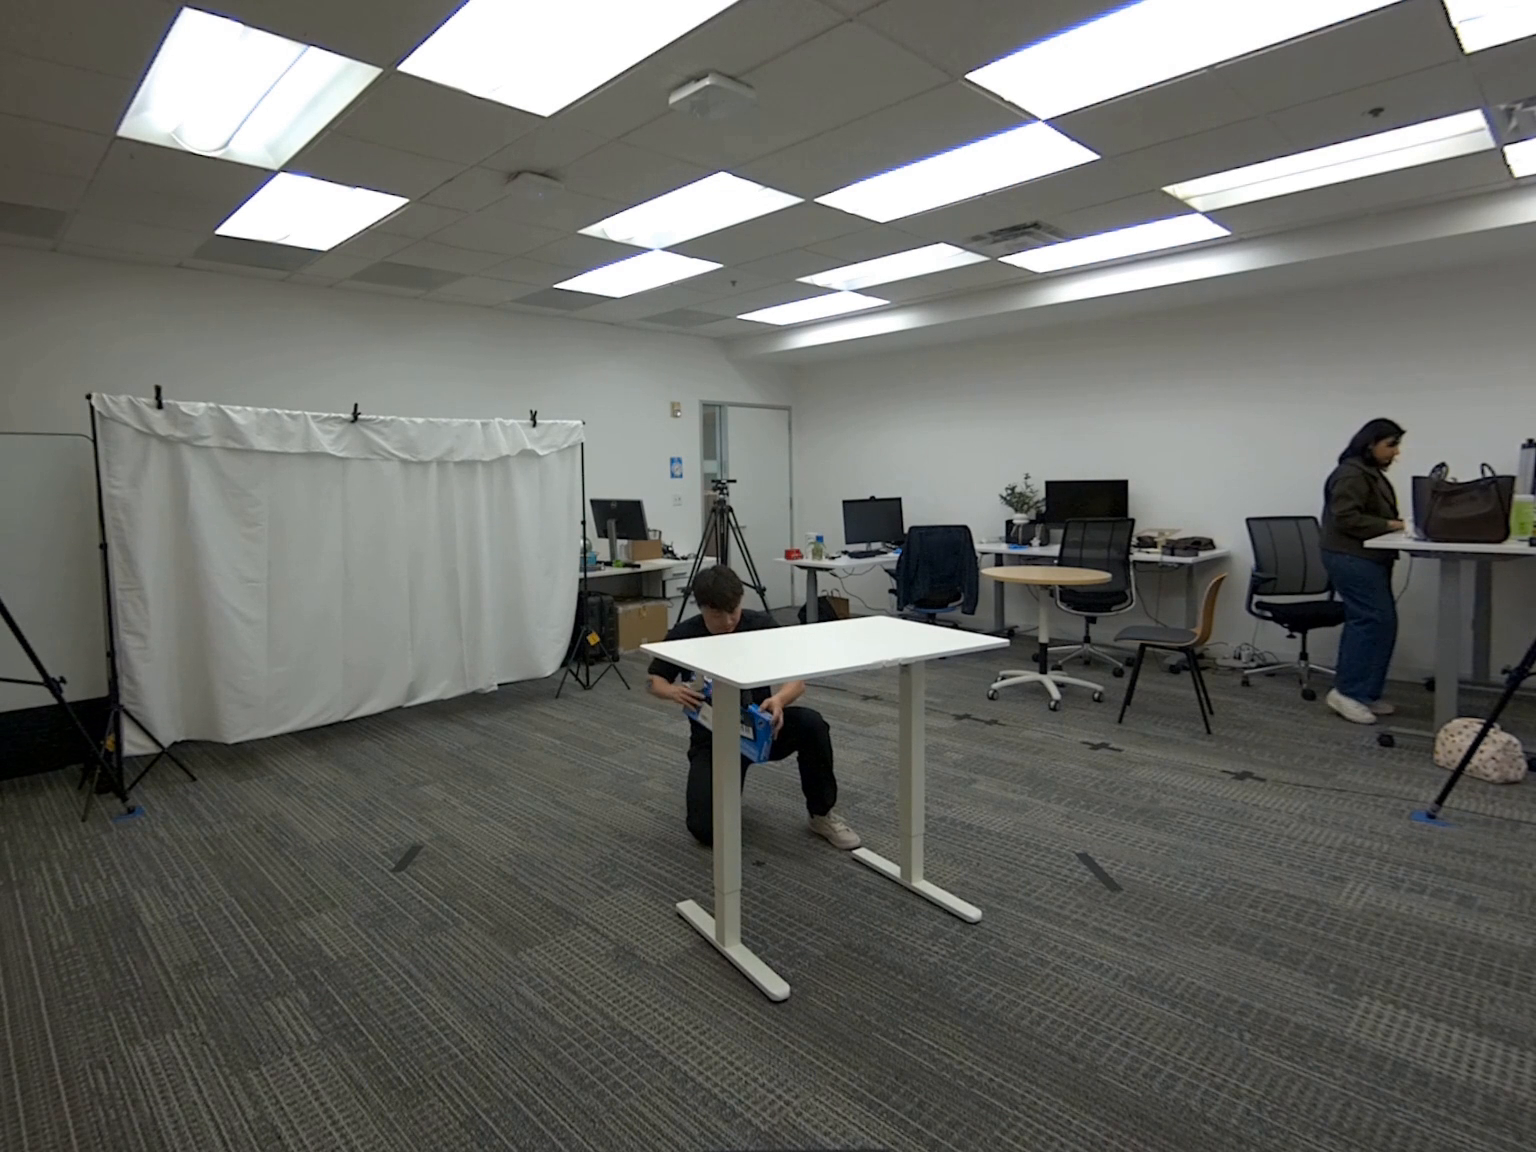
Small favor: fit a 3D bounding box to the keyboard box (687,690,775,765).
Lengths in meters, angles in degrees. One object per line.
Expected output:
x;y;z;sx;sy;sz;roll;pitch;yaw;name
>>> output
-0.148;0.533;3.227;0.057;0.175;0.453;4;15;-43;keyboard box
